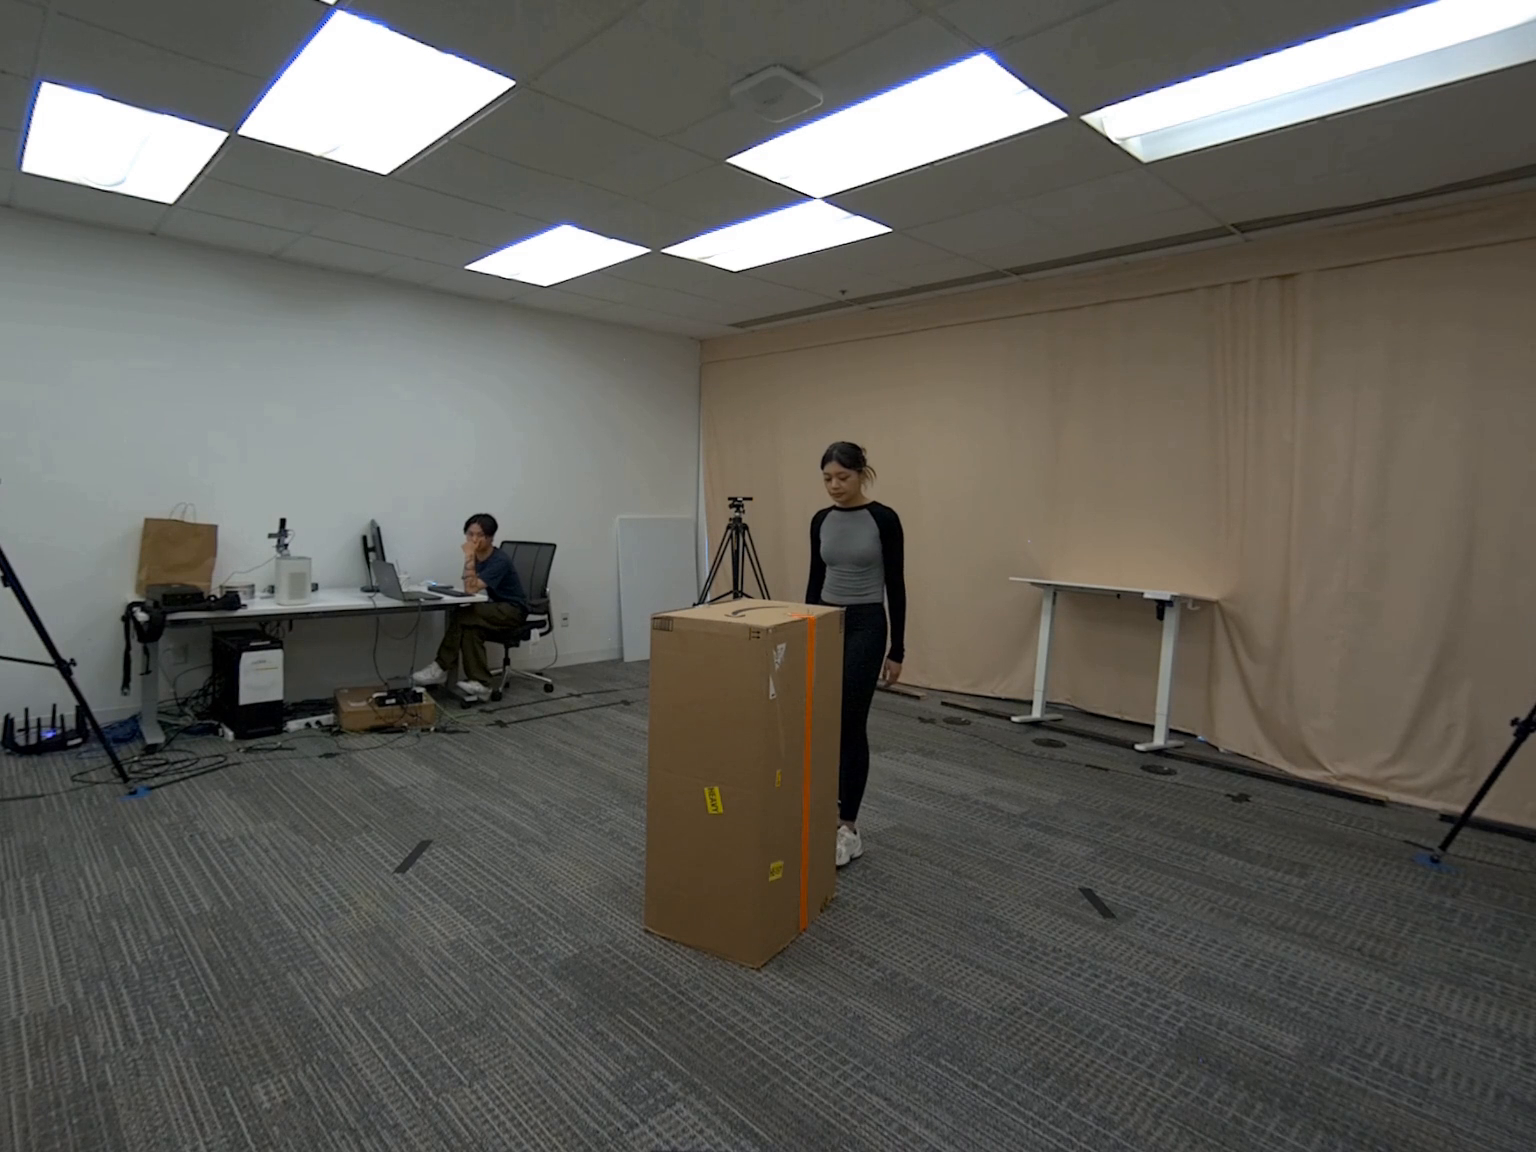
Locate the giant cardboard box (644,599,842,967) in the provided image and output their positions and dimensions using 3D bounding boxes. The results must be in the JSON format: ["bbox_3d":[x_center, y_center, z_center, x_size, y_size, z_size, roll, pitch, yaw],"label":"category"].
[{"bbox_3d":[-0.068,0.630,2.806,0.456,1.025,0.573,2,3,29],"label":"giant cardboard box"}]
